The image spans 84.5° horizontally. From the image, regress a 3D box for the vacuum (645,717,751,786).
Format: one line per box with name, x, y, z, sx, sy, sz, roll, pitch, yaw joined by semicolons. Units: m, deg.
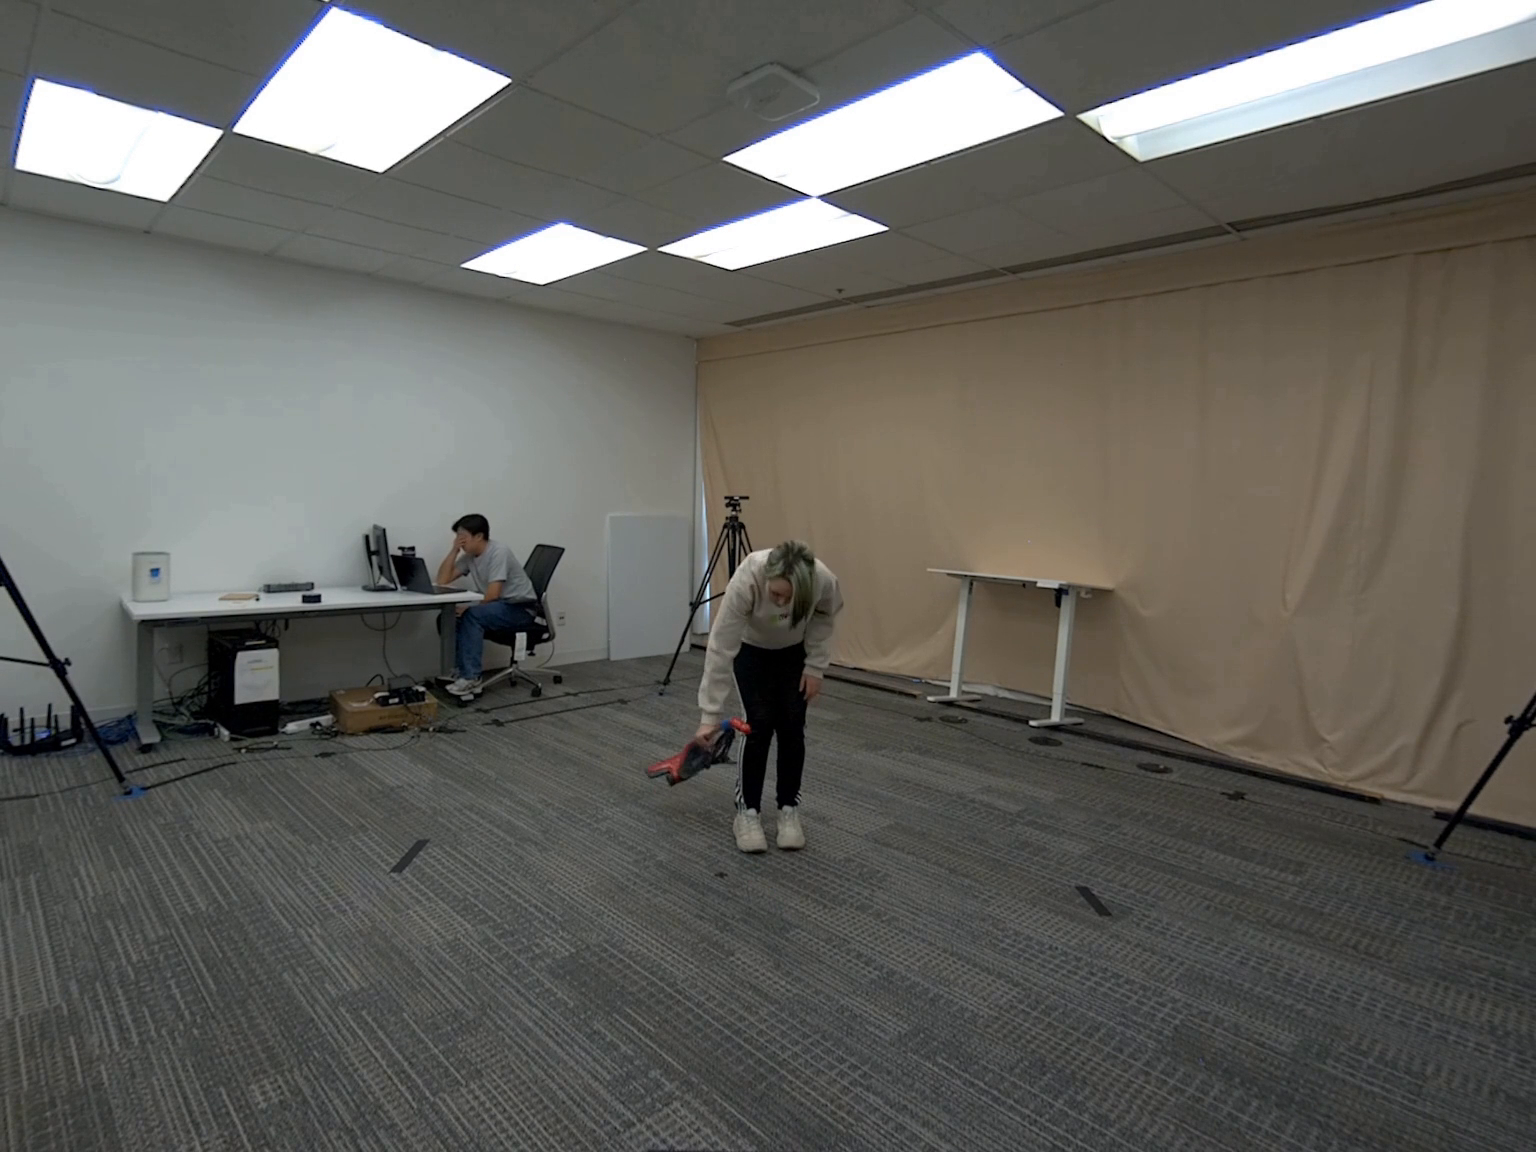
vacuum;-0.251;0.668;3.196;0.250;0.146;1.046;-18;-14;-23
